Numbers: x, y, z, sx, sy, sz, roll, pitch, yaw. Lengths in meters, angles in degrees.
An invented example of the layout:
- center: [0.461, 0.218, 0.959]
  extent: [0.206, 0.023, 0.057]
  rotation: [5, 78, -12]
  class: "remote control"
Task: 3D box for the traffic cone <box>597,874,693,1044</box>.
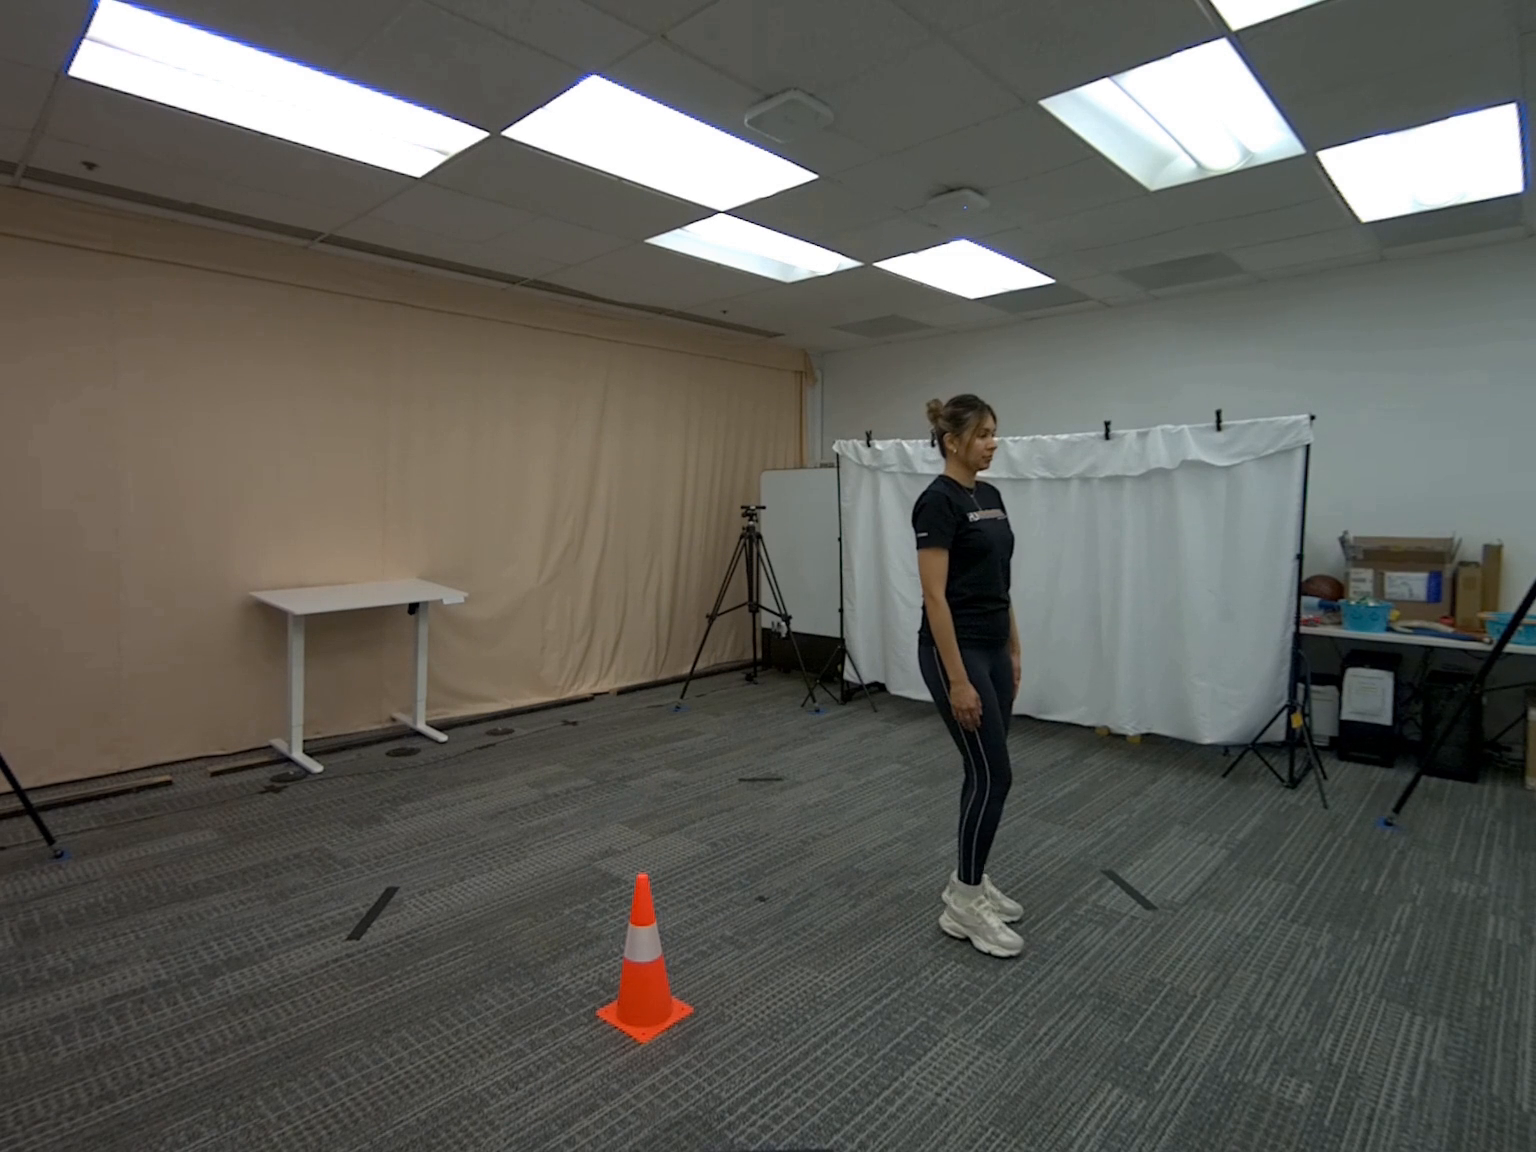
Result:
- center: [-0.339, 1.015, 2.310]
  extent: [0.212, 0.383, 0.197]
  rotation: [1, 2, 44]
  class: "traffic cone"
